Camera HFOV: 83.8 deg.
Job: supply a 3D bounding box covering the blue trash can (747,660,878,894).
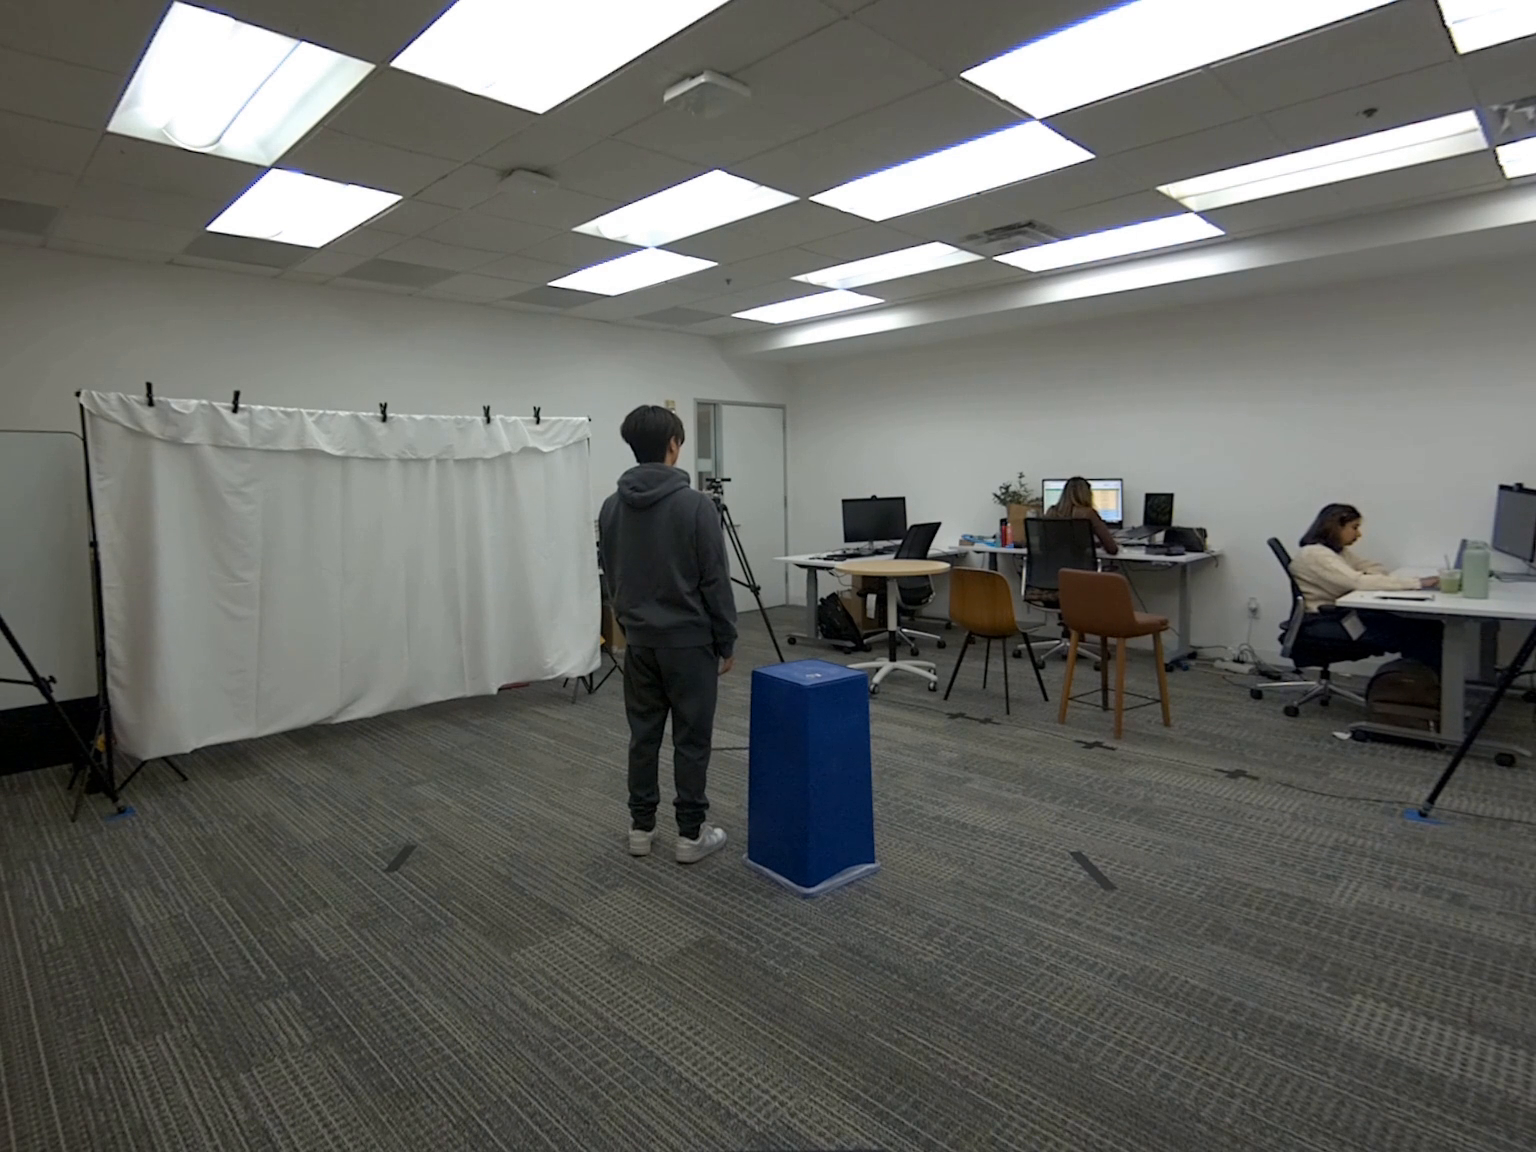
[{"bbox_3d":[0.154,0.690,3.047,0.368,0.710,0.385,-4,6,-38],"label":"blue trash can"}]
